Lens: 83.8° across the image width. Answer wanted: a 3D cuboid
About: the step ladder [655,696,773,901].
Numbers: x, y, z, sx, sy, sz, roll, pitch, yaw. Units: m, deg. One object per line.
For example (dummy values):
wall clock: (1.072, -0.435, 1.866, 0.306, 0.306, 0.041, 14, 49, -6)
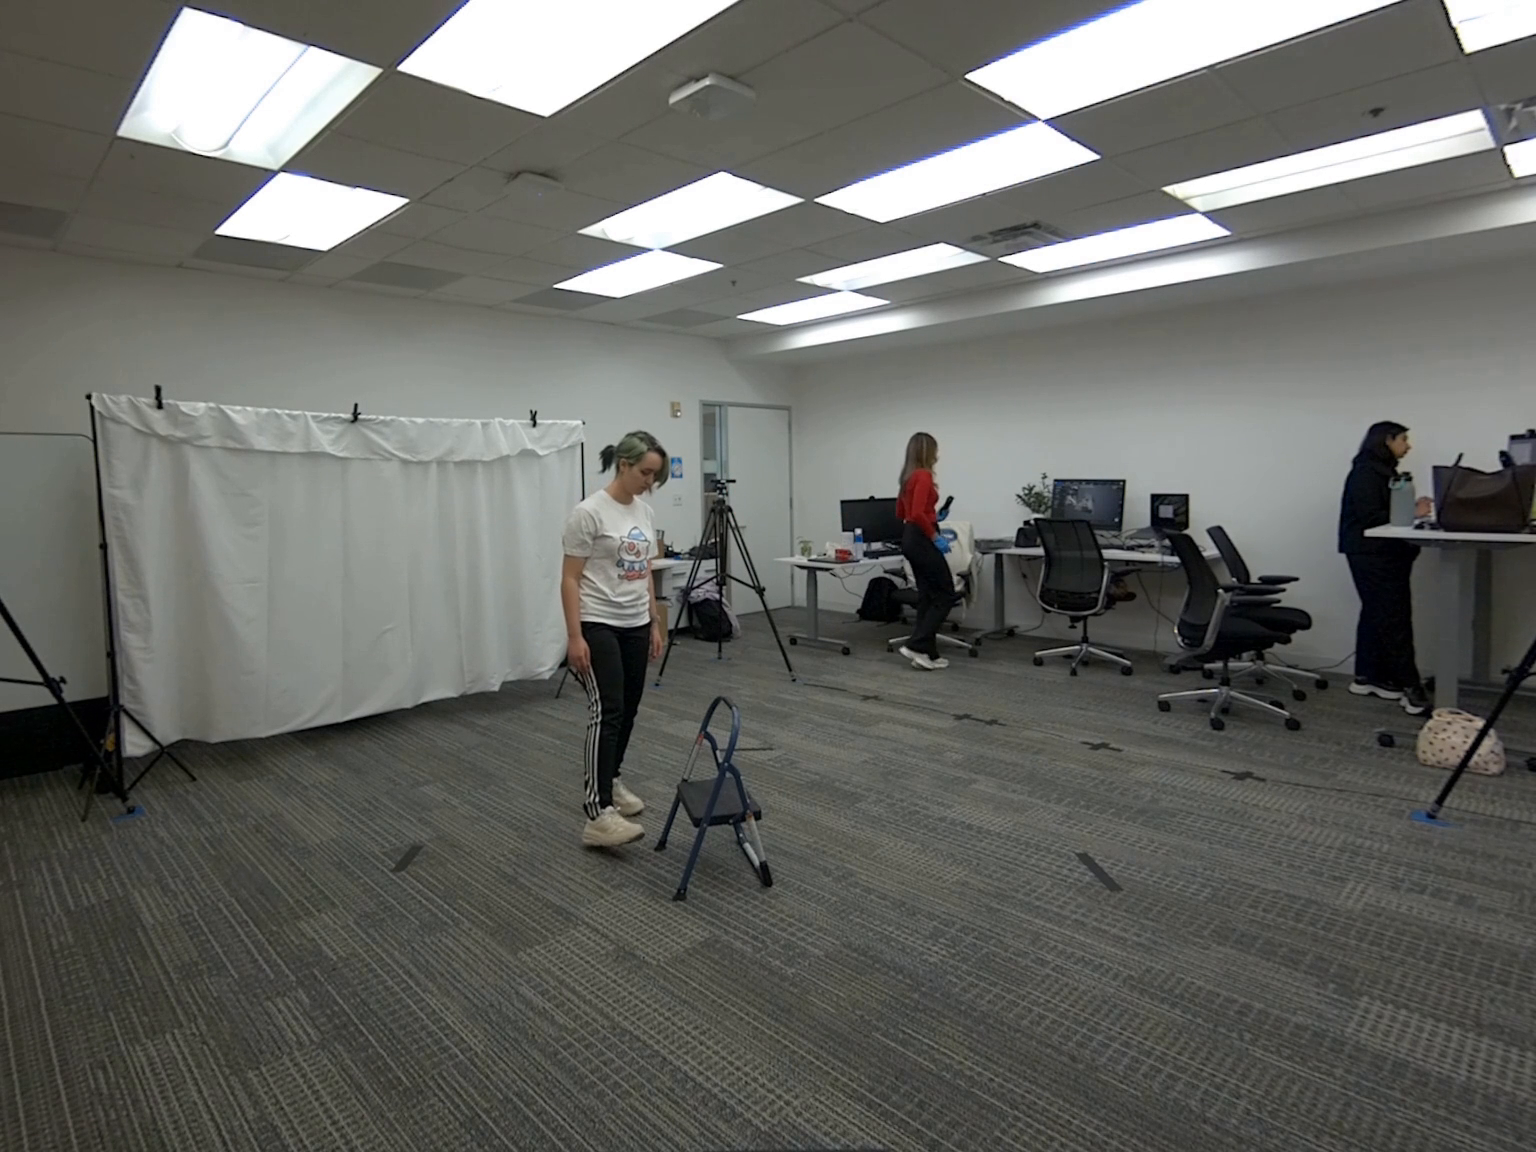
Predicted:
step ladder: (-0.203, 0.753, 3.068, 0.345, 0.603, 0.438, -2, 5, -15)
